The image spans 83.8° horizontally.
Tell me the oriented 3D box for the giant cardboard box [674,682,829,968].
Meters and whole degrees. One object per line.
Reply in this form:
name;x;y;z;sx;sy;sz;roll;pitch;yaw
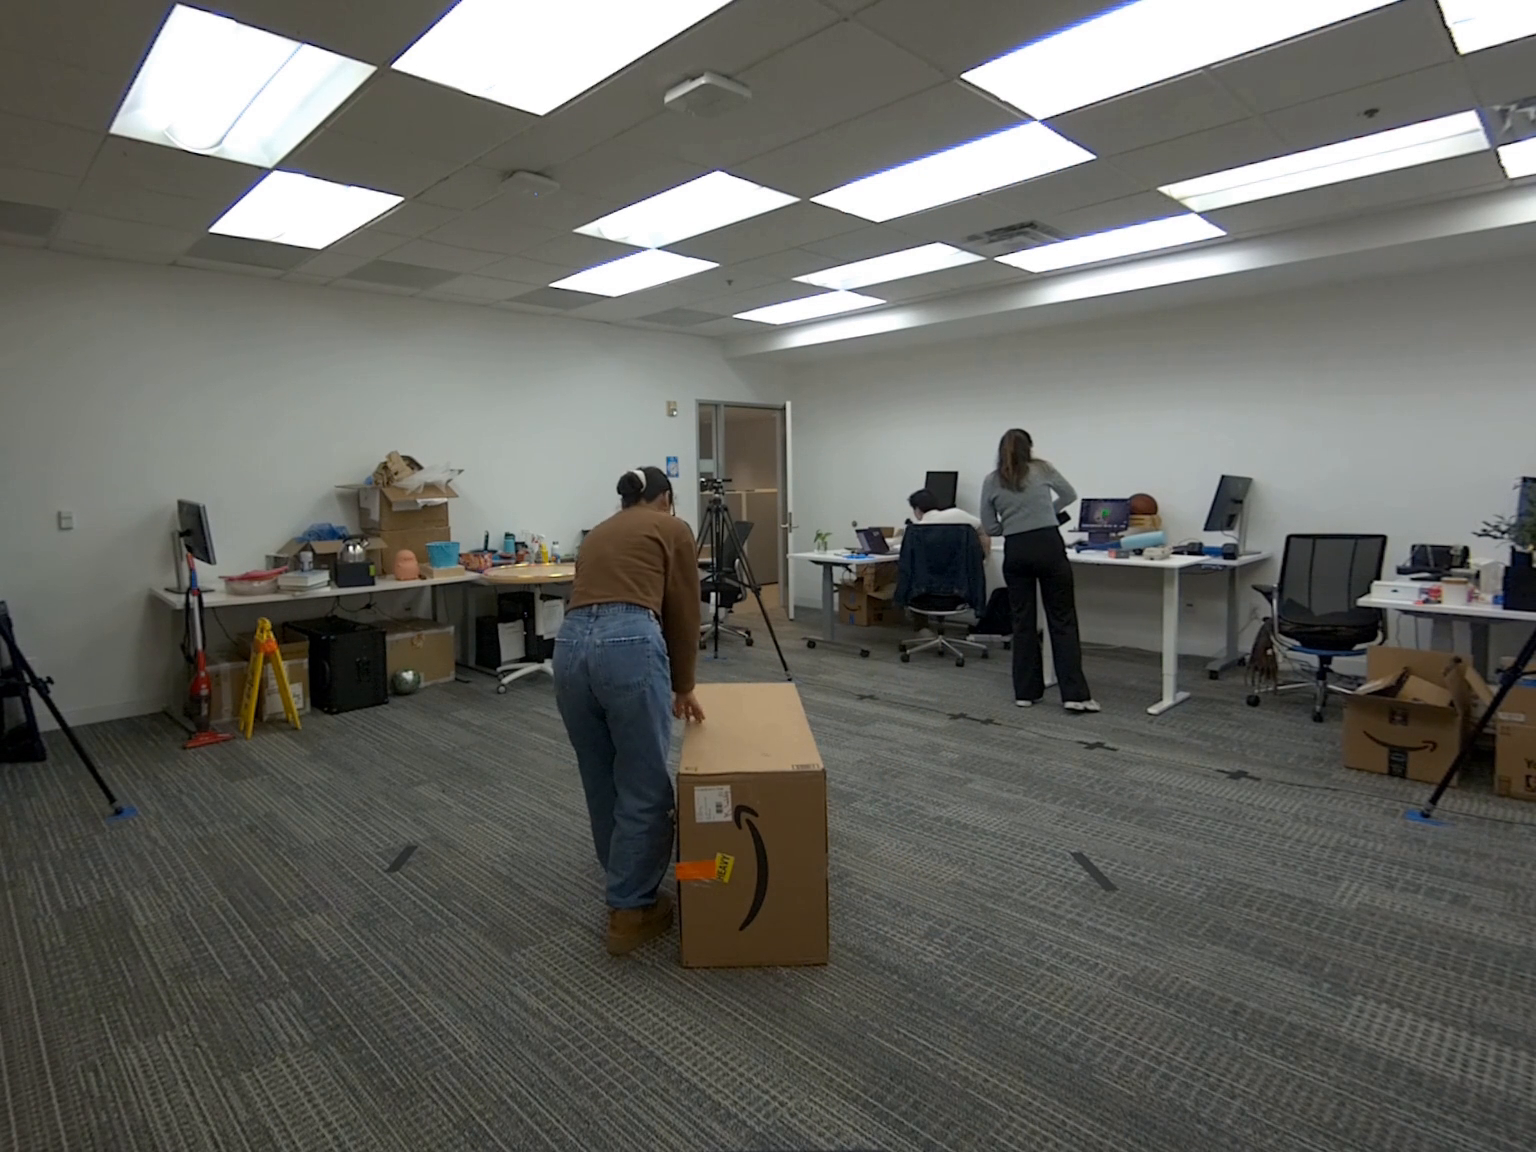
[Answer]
giant cardboard box;-0.067;0.777;2.941;0.446;0.581;1.032;0;6;-2
